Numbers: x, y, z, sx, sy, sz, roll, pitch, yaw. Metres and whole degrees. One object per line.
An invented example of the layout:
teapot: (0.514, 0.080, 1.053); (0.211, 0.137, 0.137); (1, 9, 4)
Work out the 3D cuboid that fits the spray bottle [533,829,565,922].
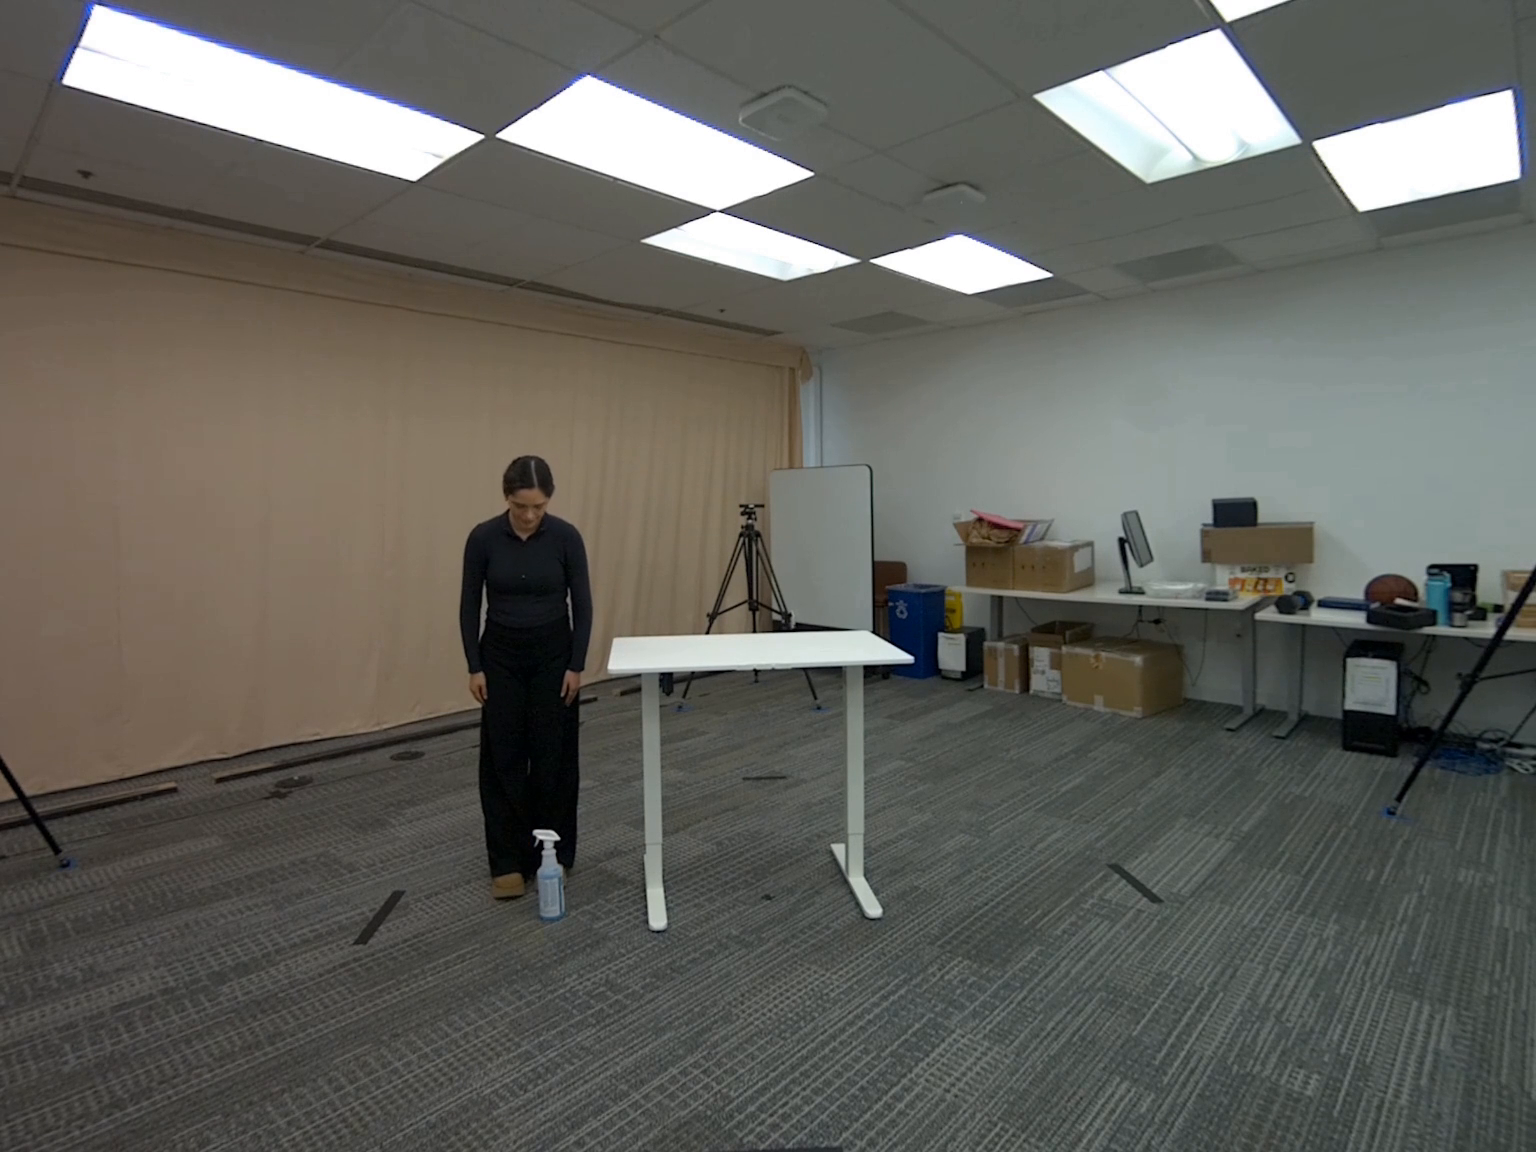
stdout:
spray bottle: (-0.748, 1.022, 2.878); (0.092, 0.297, 0.085); (0, 4, 29)
